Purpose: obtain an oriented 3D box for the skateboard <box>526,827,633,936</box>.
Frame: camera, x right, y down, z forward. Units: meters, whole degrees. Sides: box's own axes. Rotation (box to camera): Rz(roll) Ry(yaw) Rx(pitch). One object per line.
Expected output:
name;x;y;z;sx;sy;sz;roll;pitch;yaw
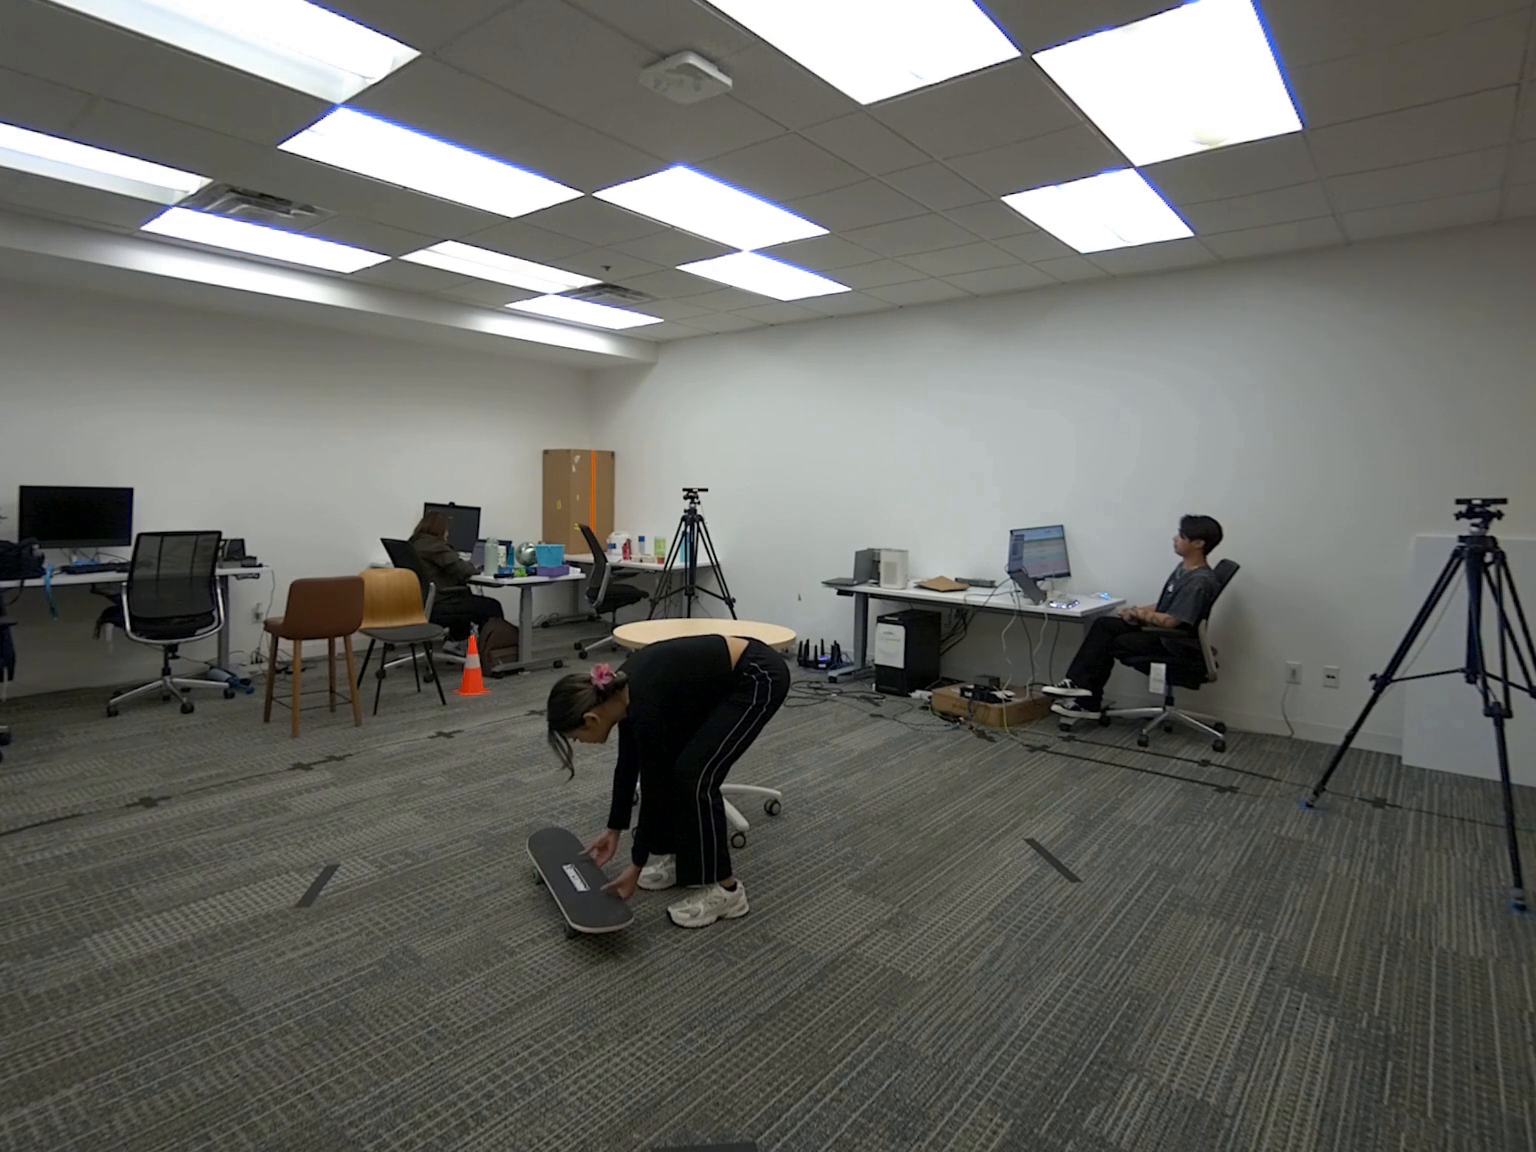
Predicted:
skateboard;-0.641;1.021;2.836;0.188;0.110;0.808;-1;6;-28
